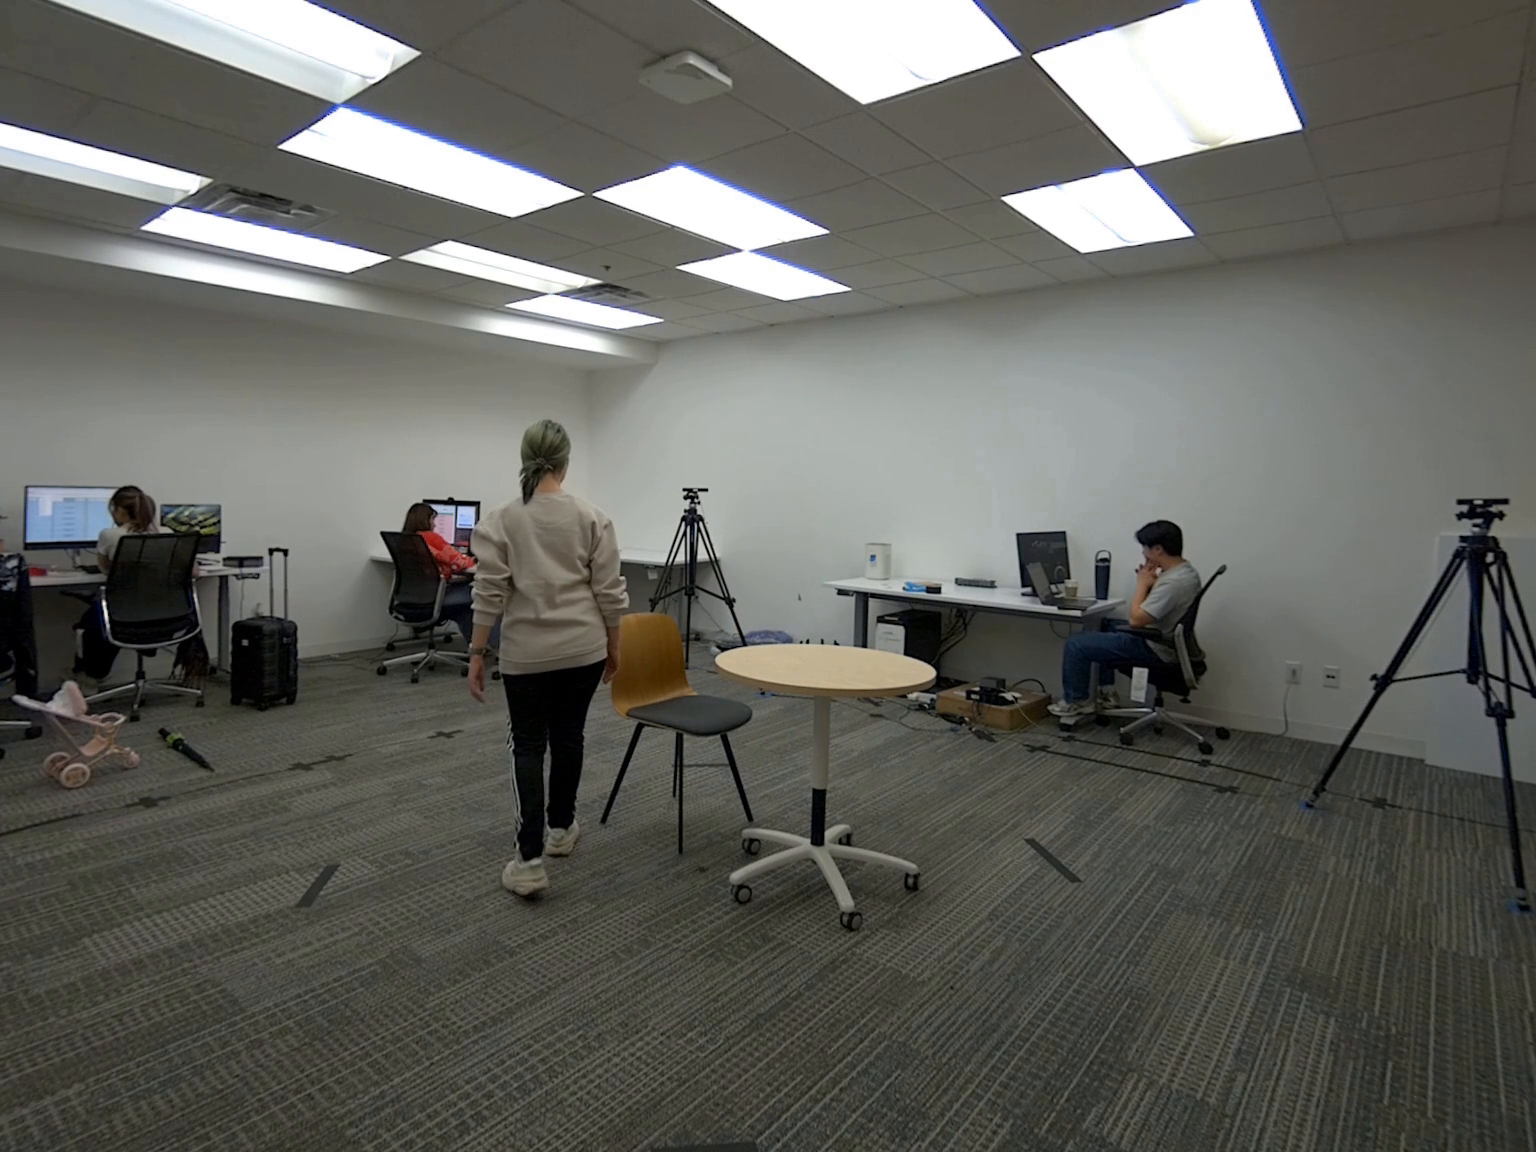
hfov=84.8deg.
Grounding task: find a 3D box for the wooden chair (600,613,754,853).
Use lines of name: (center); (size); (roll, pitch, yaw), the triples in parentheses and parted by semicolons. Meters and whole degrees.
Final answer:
wooden chair: (-0.370, 0.599, 3.514); (0.539, 0.877, 0.464); (-2, 0, 39)
